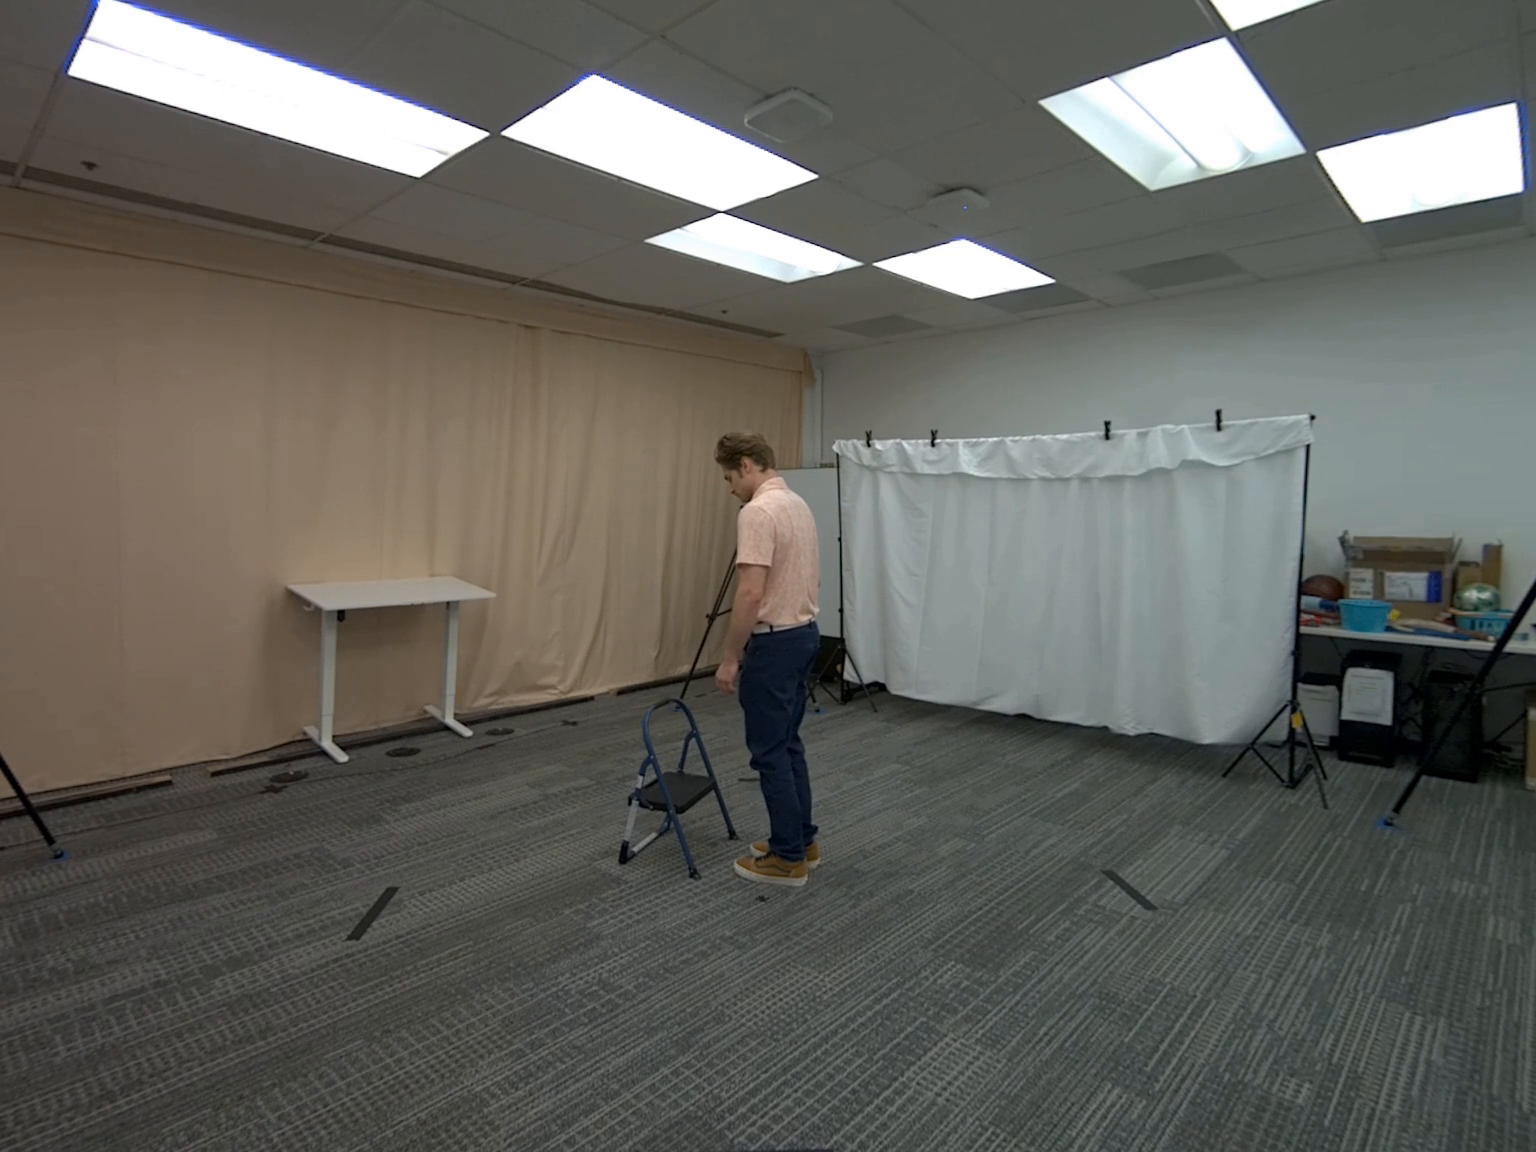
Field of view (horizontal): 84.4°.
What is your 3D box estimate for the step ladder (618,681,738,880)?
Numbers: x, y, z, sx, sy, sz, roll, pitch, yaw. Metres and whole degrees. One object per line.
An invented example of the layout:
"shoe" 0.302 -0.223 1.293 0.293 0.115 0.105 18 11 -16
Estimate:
"step ladder" -0.359 0.809 3.392 0.357 0.605 0.422 0 3 21
